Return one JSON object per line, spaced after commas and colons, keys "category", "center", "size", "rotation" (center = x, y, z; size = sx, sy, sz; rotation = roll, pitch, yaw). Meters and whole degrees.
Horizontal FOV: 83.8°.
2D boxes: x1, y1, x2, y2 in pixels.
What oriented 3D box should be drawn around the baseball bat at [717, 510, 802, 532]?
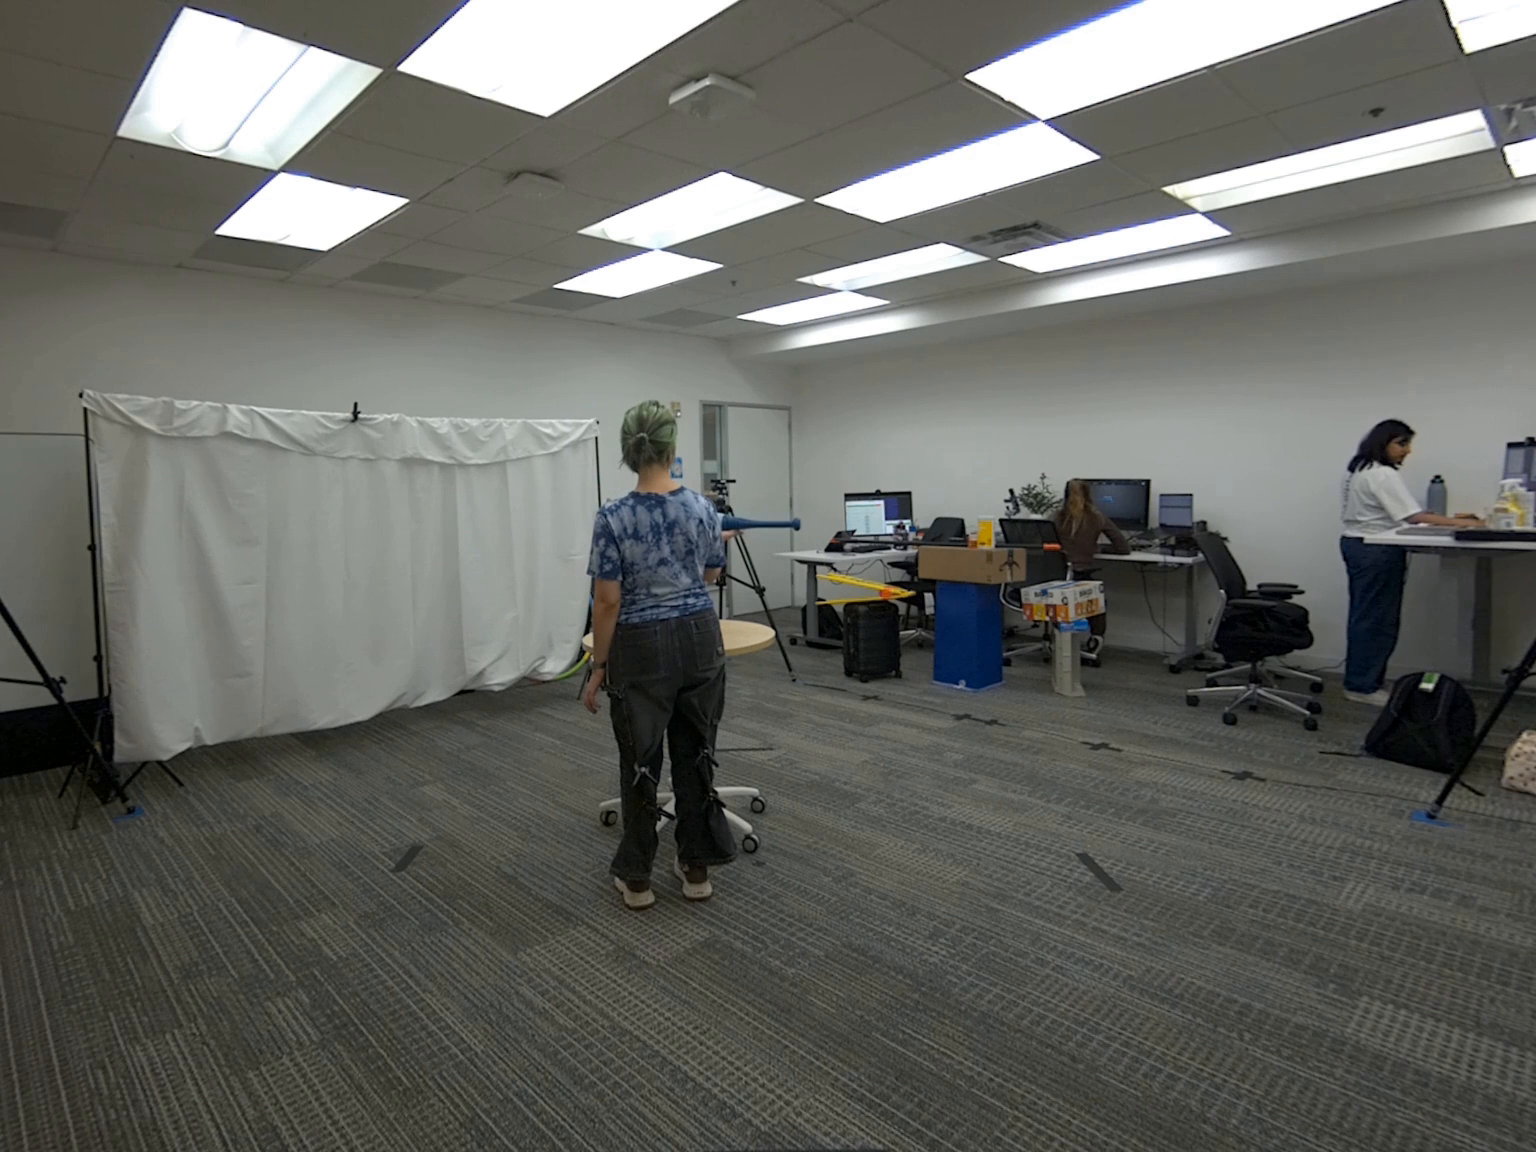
{"category": "baseball bat", "center": [-0.154, -0.198, 3.235], "size": [0.550, 0.089, 0.088], "rotation": [2, 5, 14]}
